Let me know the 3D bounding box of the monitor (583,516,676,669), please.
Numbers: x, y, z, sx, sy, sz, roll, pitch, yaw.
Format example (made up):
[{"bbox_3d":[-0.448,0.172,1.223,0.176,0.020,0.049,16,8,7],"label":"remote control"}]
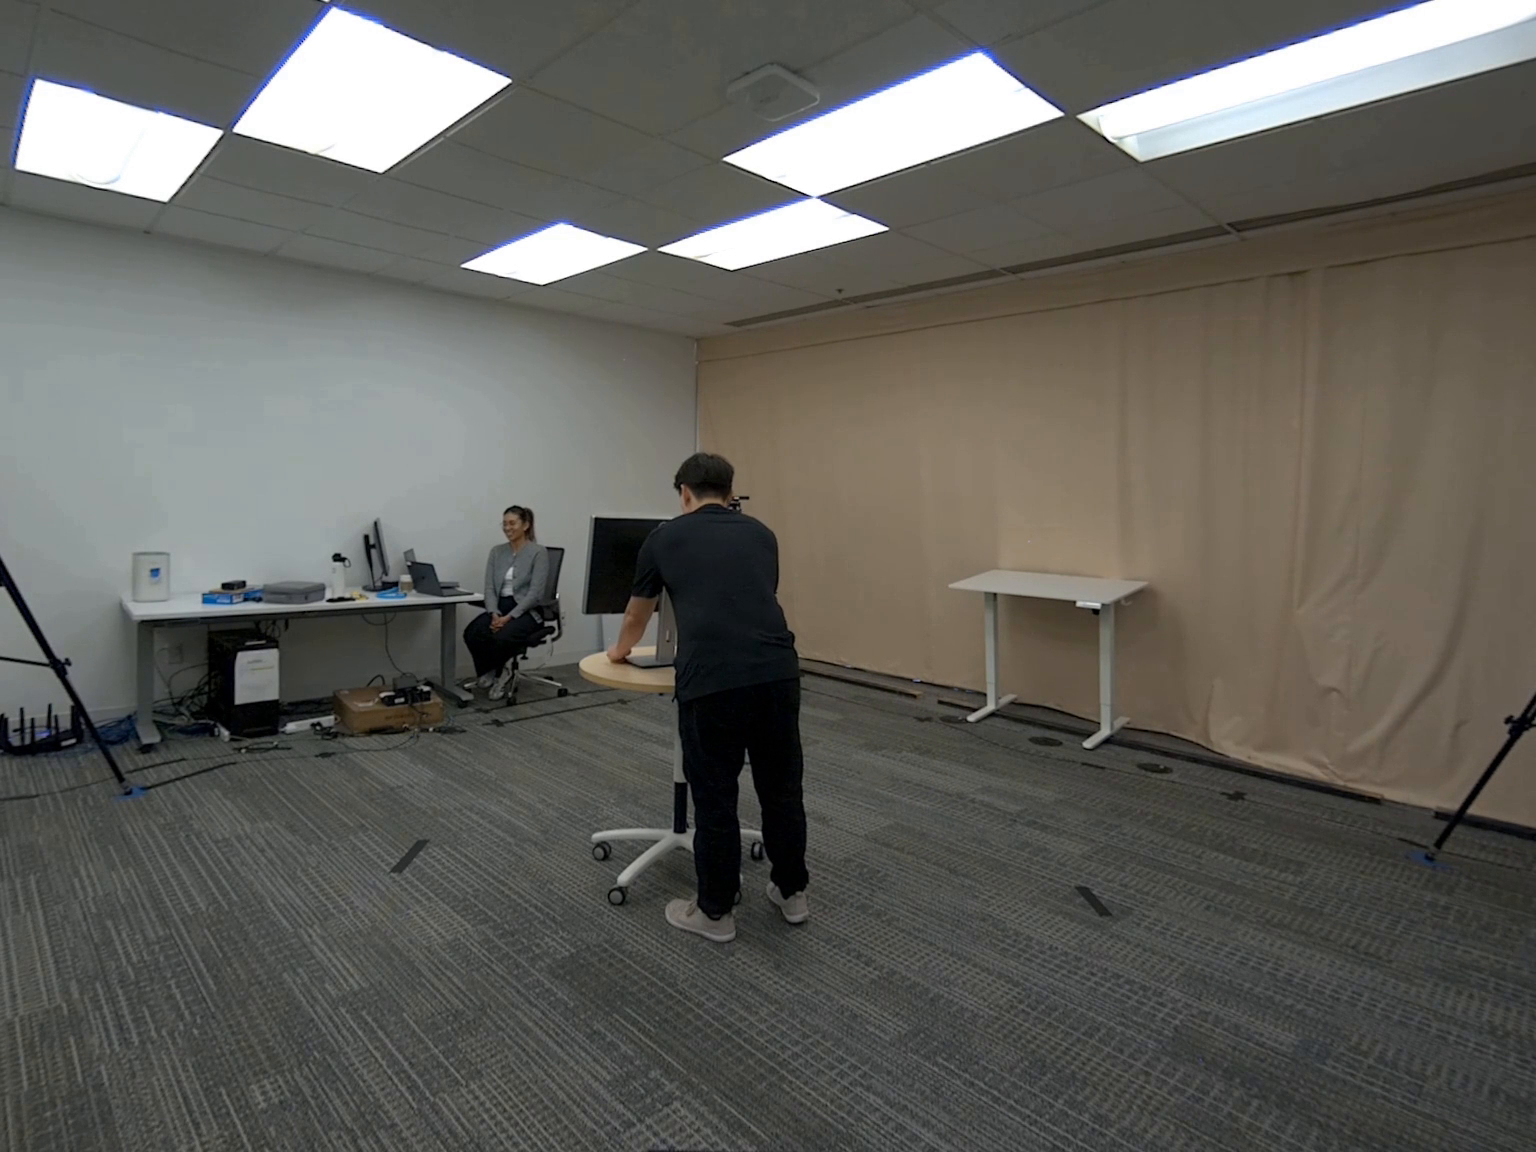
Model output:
[{"bbox_3d":[-0.398,0.056,3.115,0.527,0.522,0.191,-1,2,-36],"label":"monitor"}]
